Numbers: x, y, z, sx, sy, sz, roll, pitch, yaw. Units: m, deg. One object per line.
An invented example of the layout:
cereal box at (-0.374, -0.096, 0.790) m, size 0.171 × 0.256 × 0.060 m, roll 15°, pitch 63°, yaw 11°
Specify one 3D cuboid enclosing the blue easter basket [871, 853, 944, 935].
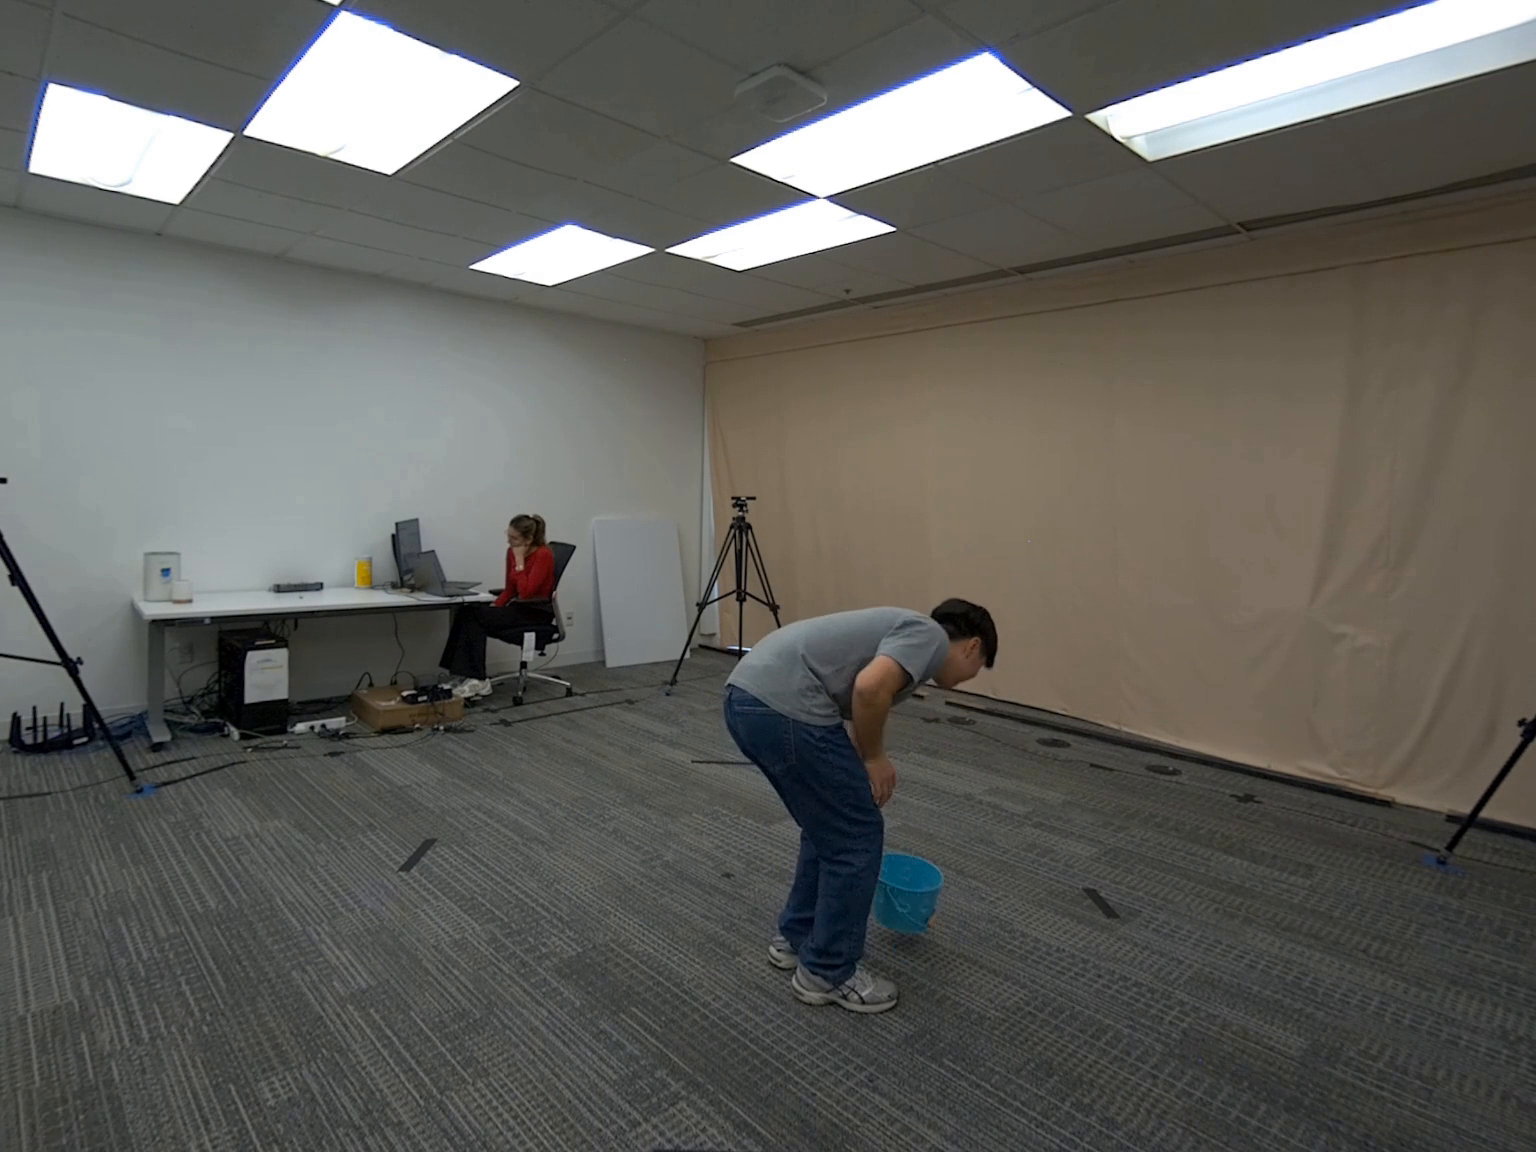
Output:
blue easter basket at (0.419, 0.993, 2.645) m, size 0.243 × 0.155 × 0.245 m, roll 4°, pitch 7°, yaw -2°
